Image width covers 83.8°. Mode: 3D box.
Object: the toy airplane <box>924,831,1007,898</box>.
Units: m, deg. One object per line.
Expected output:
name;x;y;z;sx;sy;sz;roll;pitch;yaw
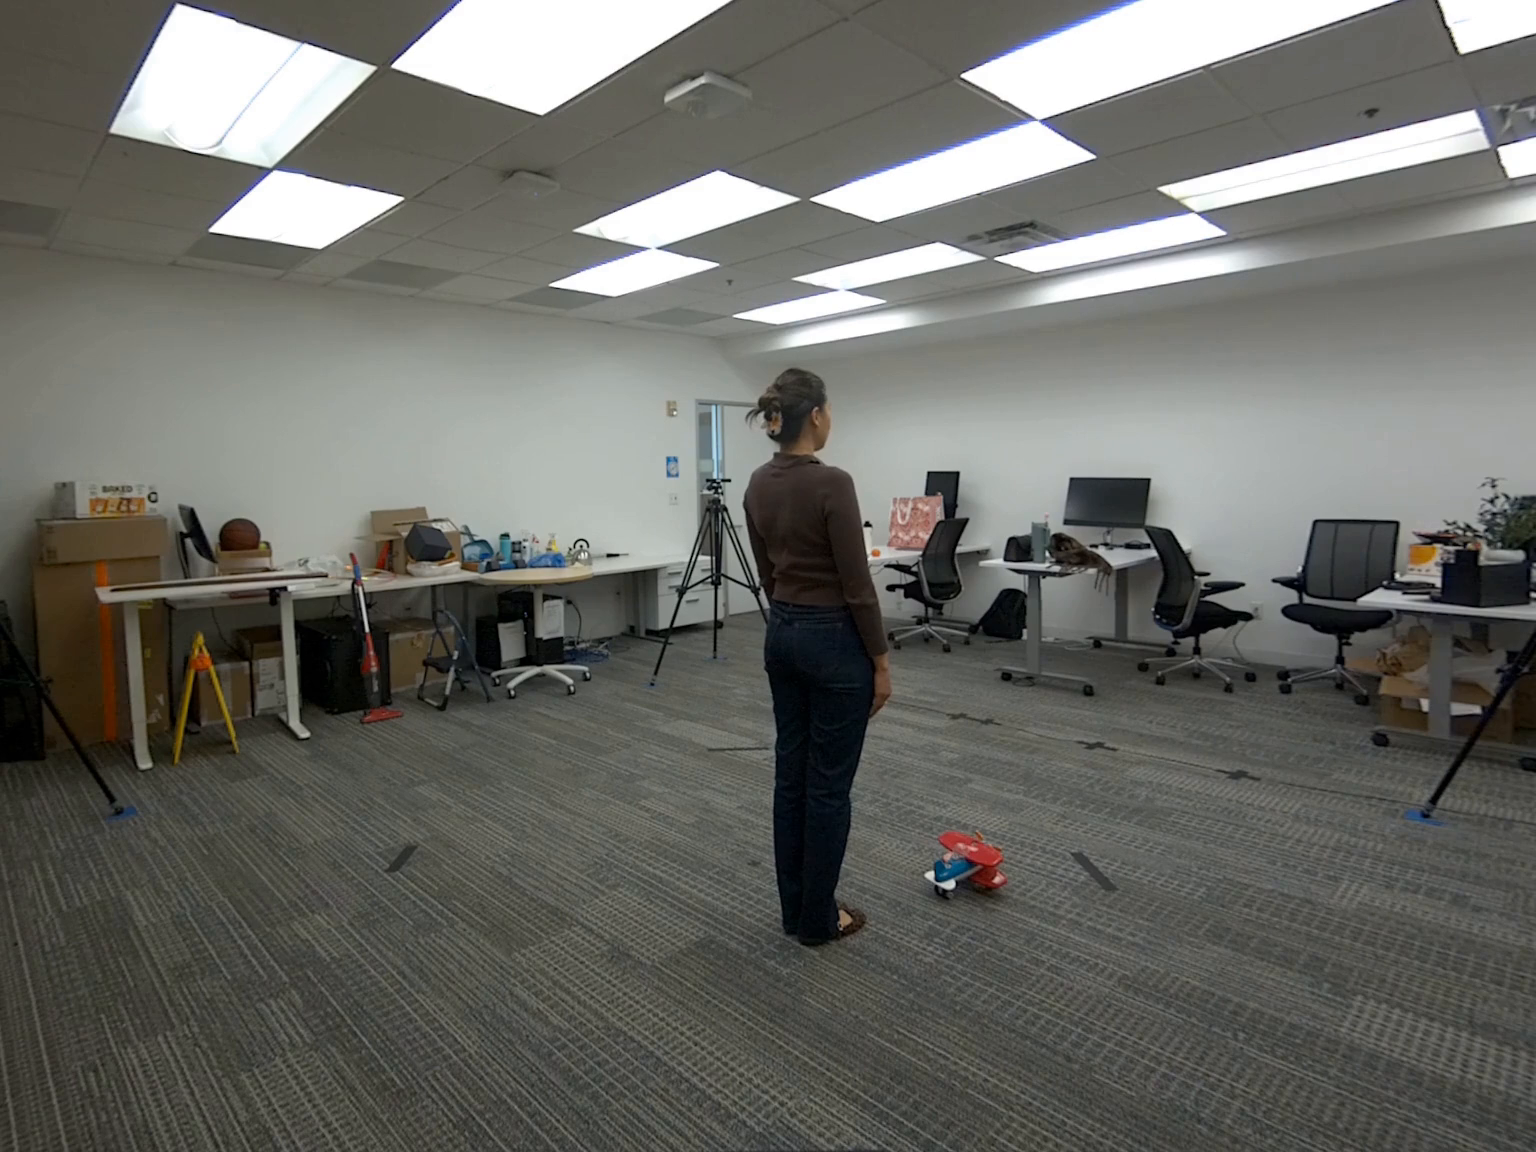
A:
toy airplane;0.676;0.985;2.862;0.258;0.156;0.253;3;6;31
